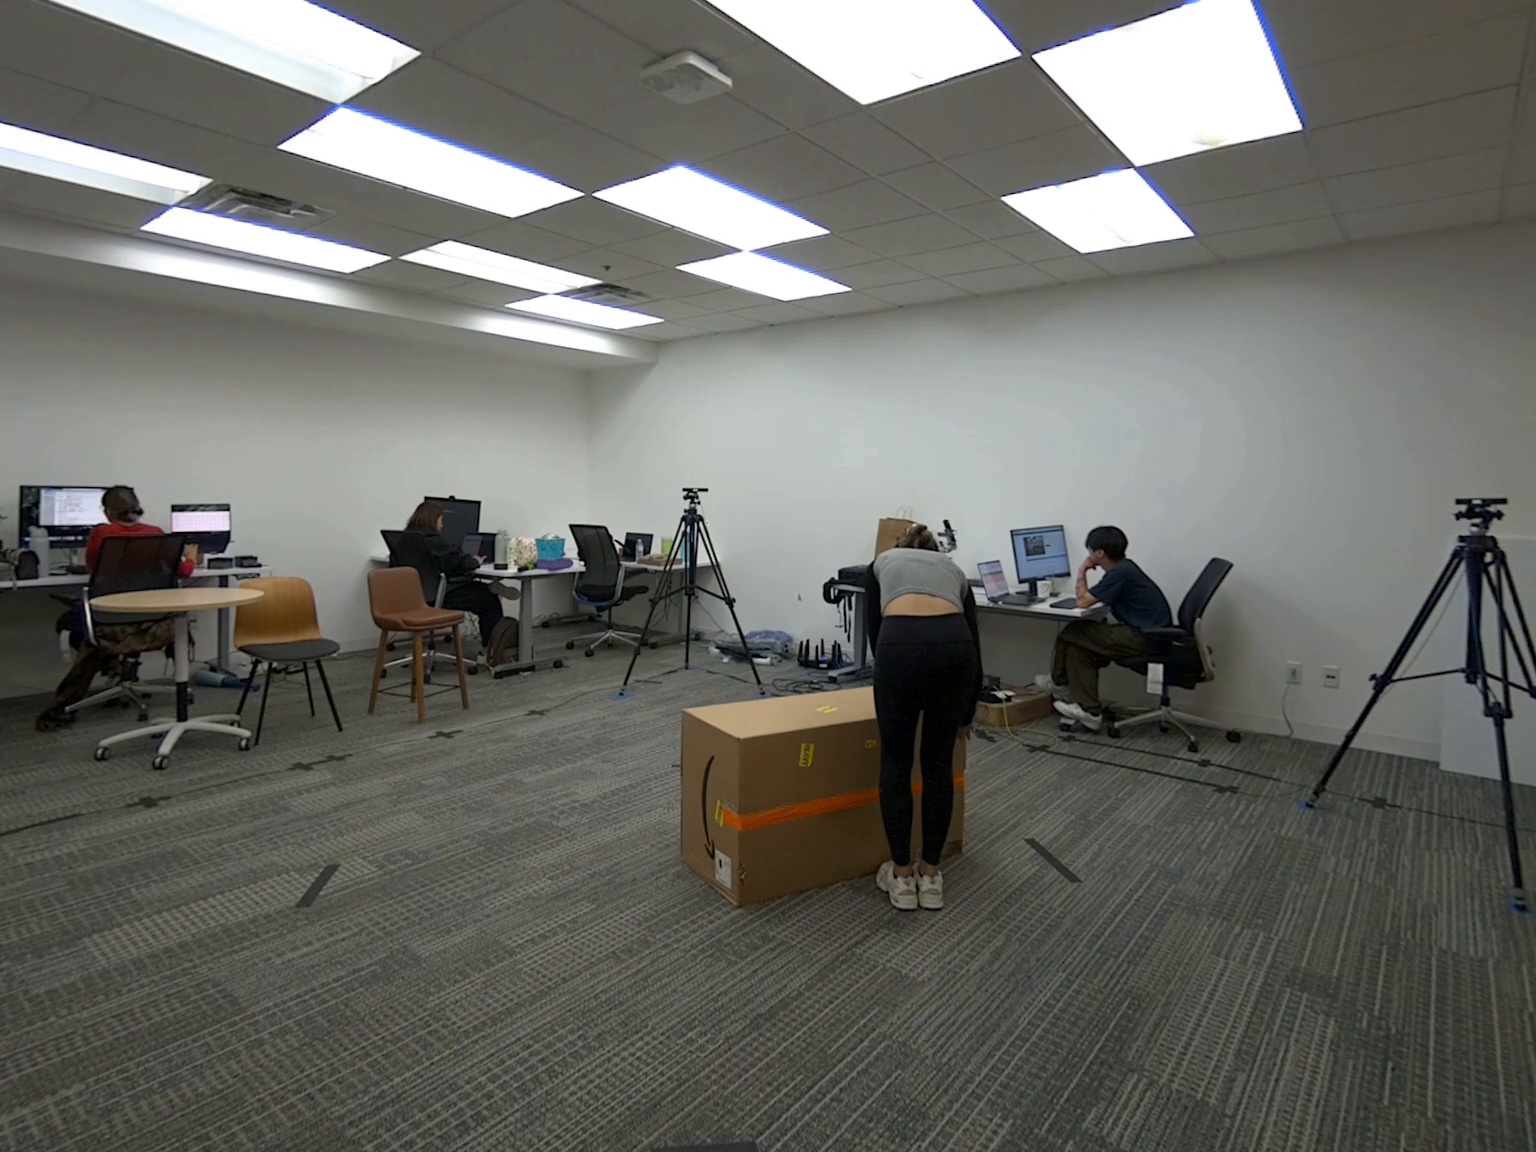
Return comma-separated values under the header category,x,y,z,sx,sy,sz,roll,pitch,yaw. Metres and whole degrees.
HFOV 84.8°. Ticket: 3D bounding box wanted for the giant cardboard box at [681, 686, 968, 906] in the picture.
category,x,y,z,sx,sy,sz,roll,pitch,yaw
giant cardboard box,0.204,0.779,3.233,0.999,0.581,0.461,-2,6,-31
